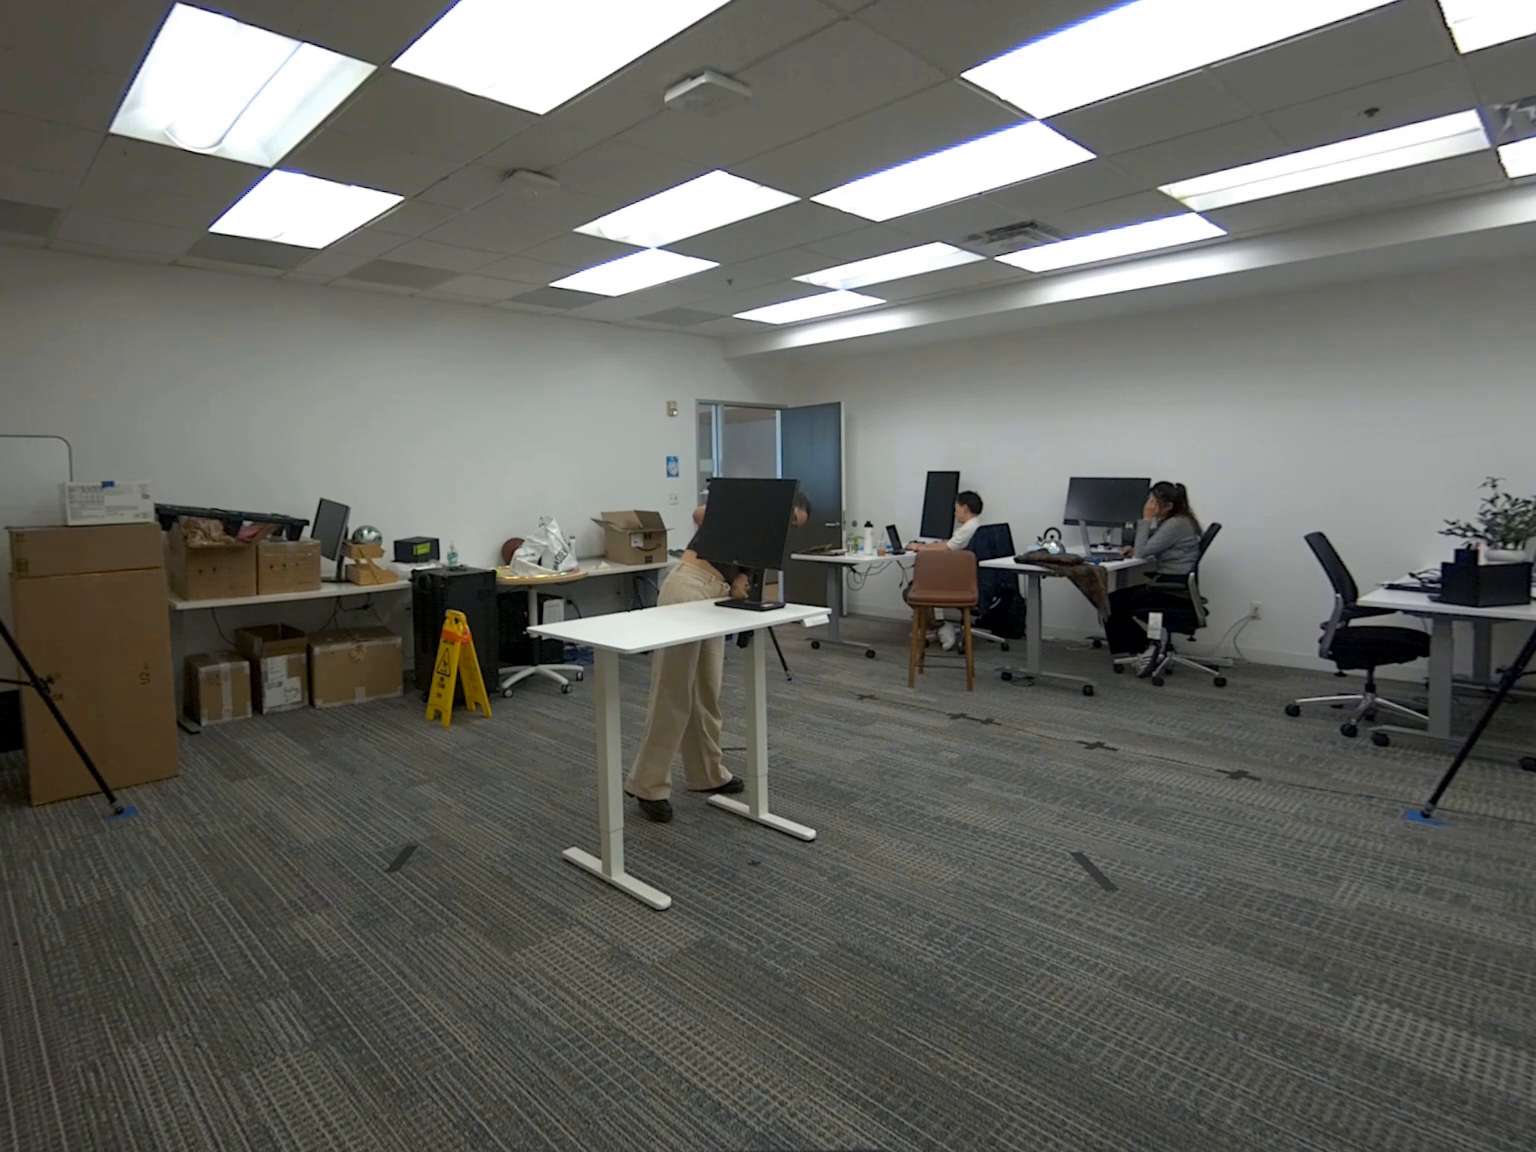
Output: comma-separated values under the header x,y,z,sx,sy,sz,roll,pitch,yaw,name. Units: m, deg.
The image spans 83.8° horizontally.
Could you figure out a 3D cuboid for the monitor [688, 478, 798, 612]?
x,y,z,sx,sy,sz,roll,pitch,yaw,name
-0.075,-0.131,3.437,0.182,0.520,0.556,-3,6,-41,monitor
